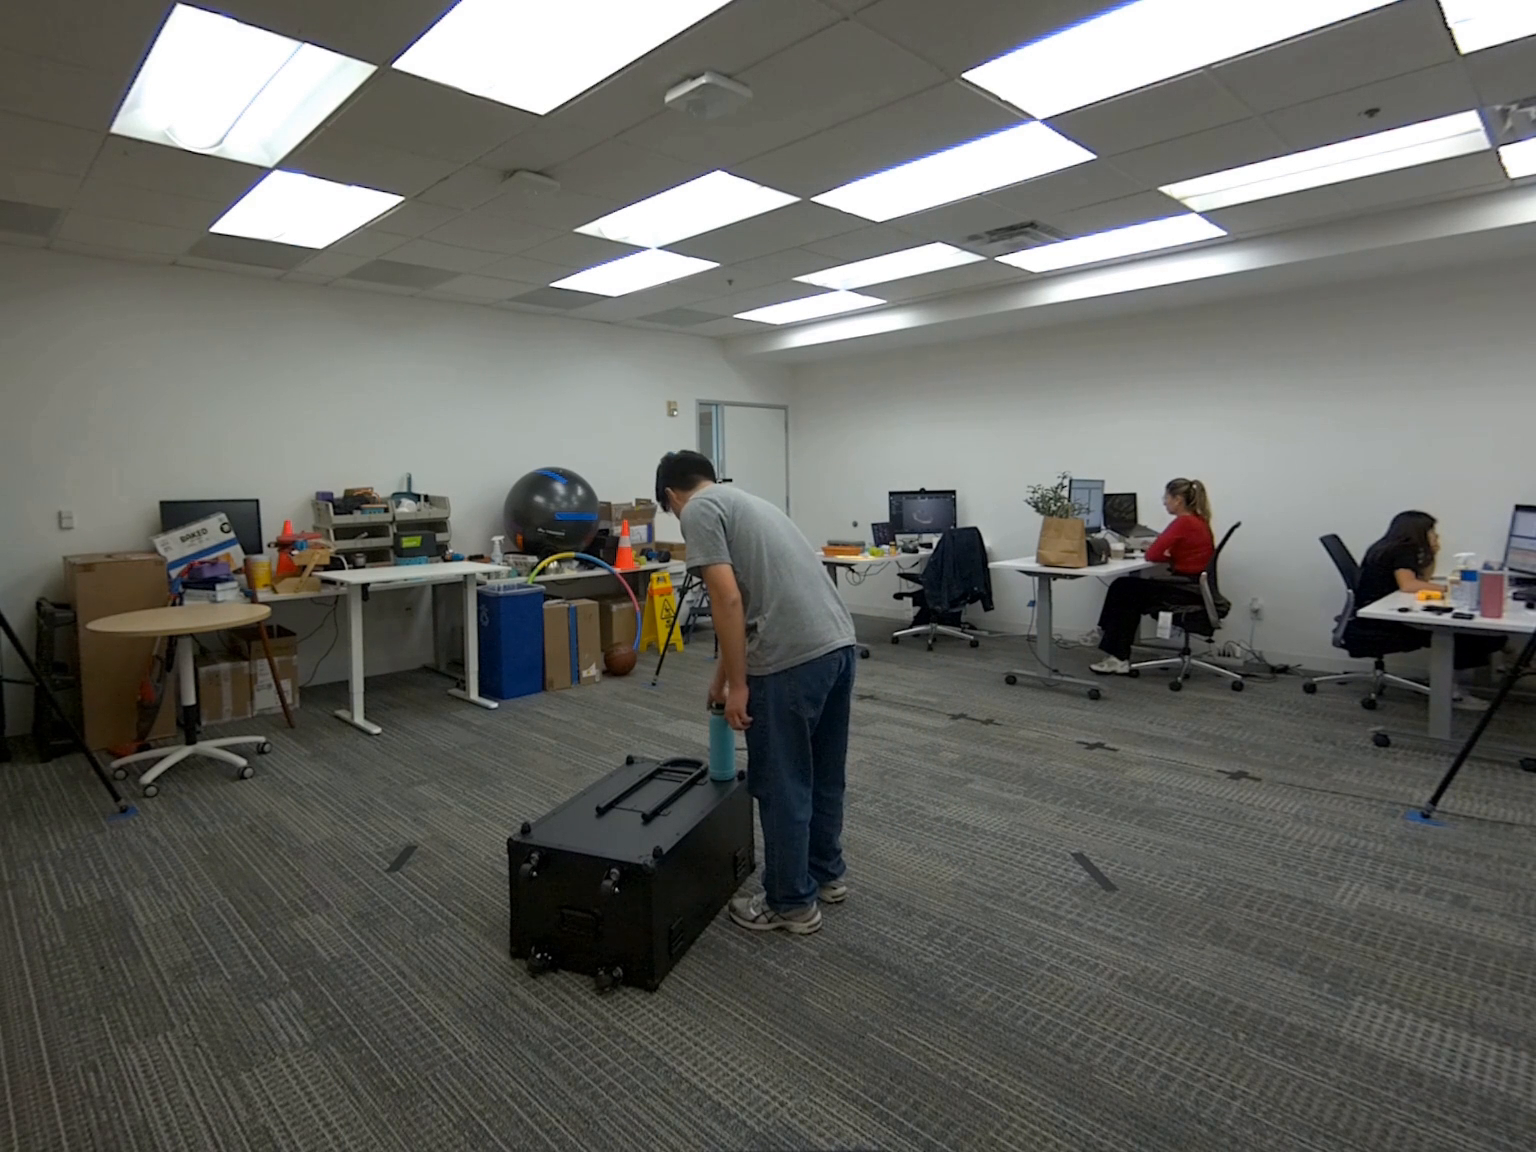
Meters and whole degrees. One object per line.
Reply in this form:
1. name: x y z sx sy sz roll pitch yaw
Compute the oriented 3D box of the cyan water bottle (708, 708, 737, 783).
1. cyan water bottle: -0.153 0.554 2.980 0.092 0.282 0.093 -3 4 -1
